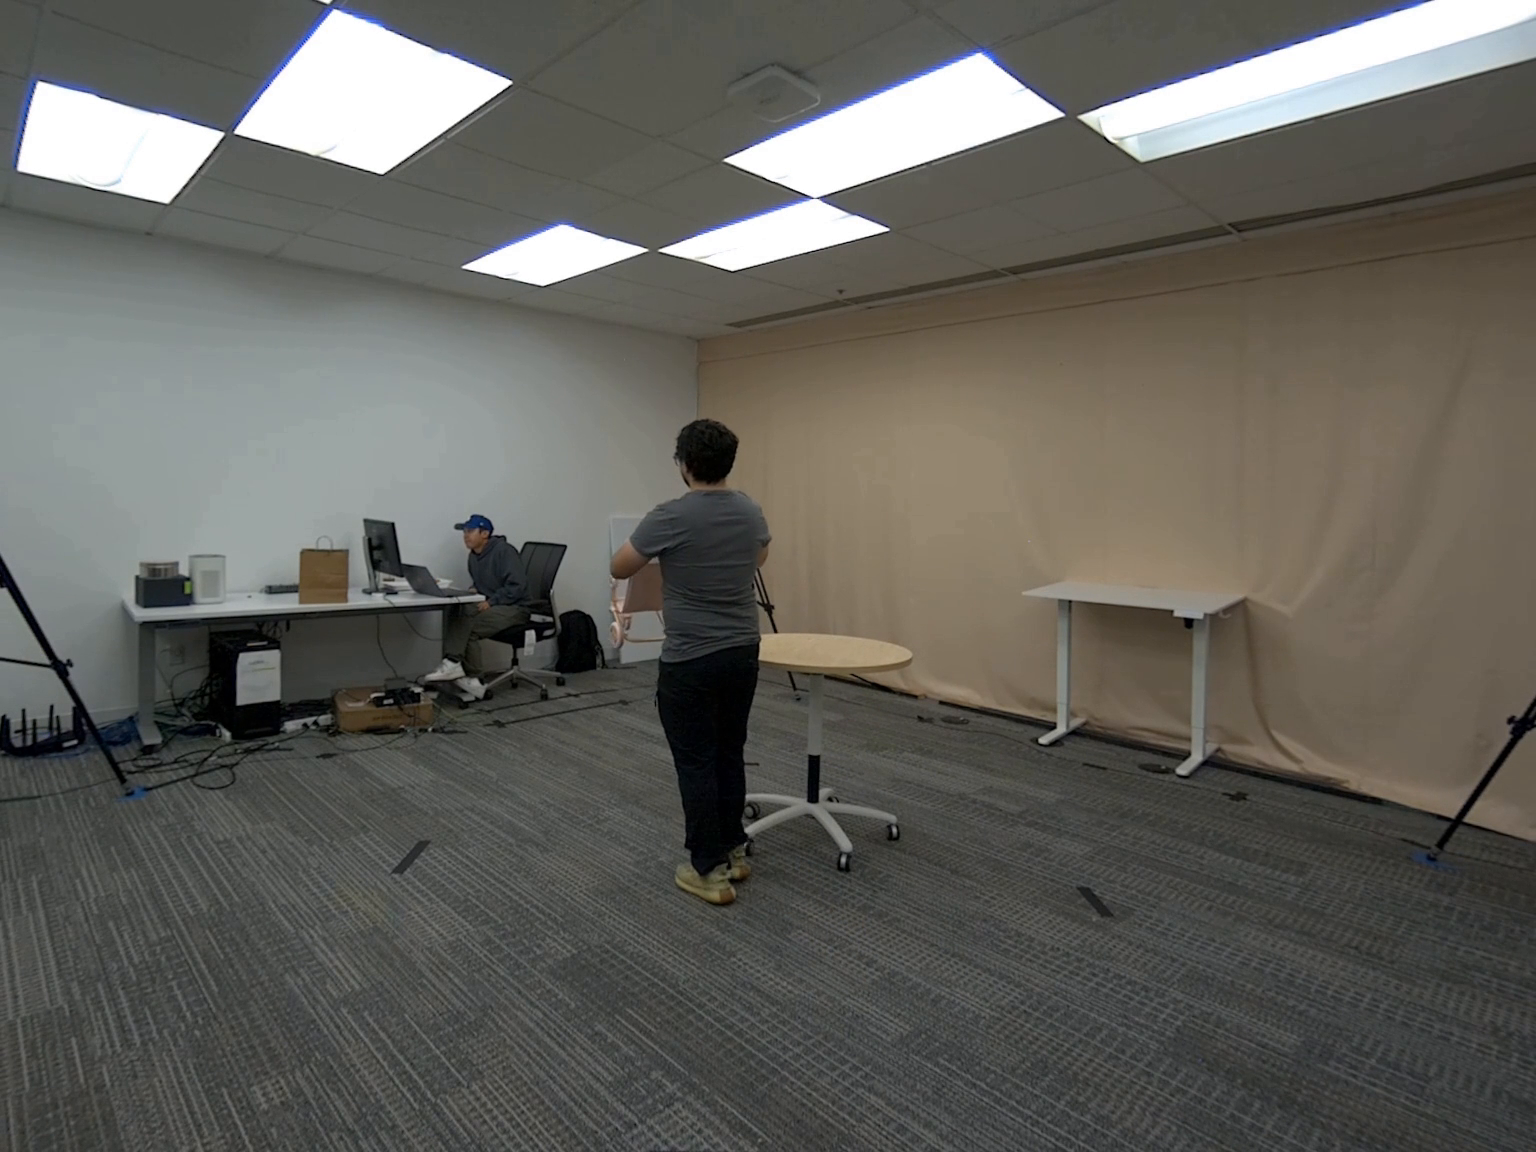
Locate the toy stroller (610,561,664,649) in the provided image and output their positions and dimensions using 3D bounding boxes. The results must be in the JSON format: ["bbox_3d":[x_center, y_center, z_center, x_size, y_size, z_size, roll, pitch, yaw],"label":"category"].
[{"bbox_3d":[-0.522,0.057,3.473,0.277,0.528,0.351,-1,25,-24],"label":"toy stroller"}]
